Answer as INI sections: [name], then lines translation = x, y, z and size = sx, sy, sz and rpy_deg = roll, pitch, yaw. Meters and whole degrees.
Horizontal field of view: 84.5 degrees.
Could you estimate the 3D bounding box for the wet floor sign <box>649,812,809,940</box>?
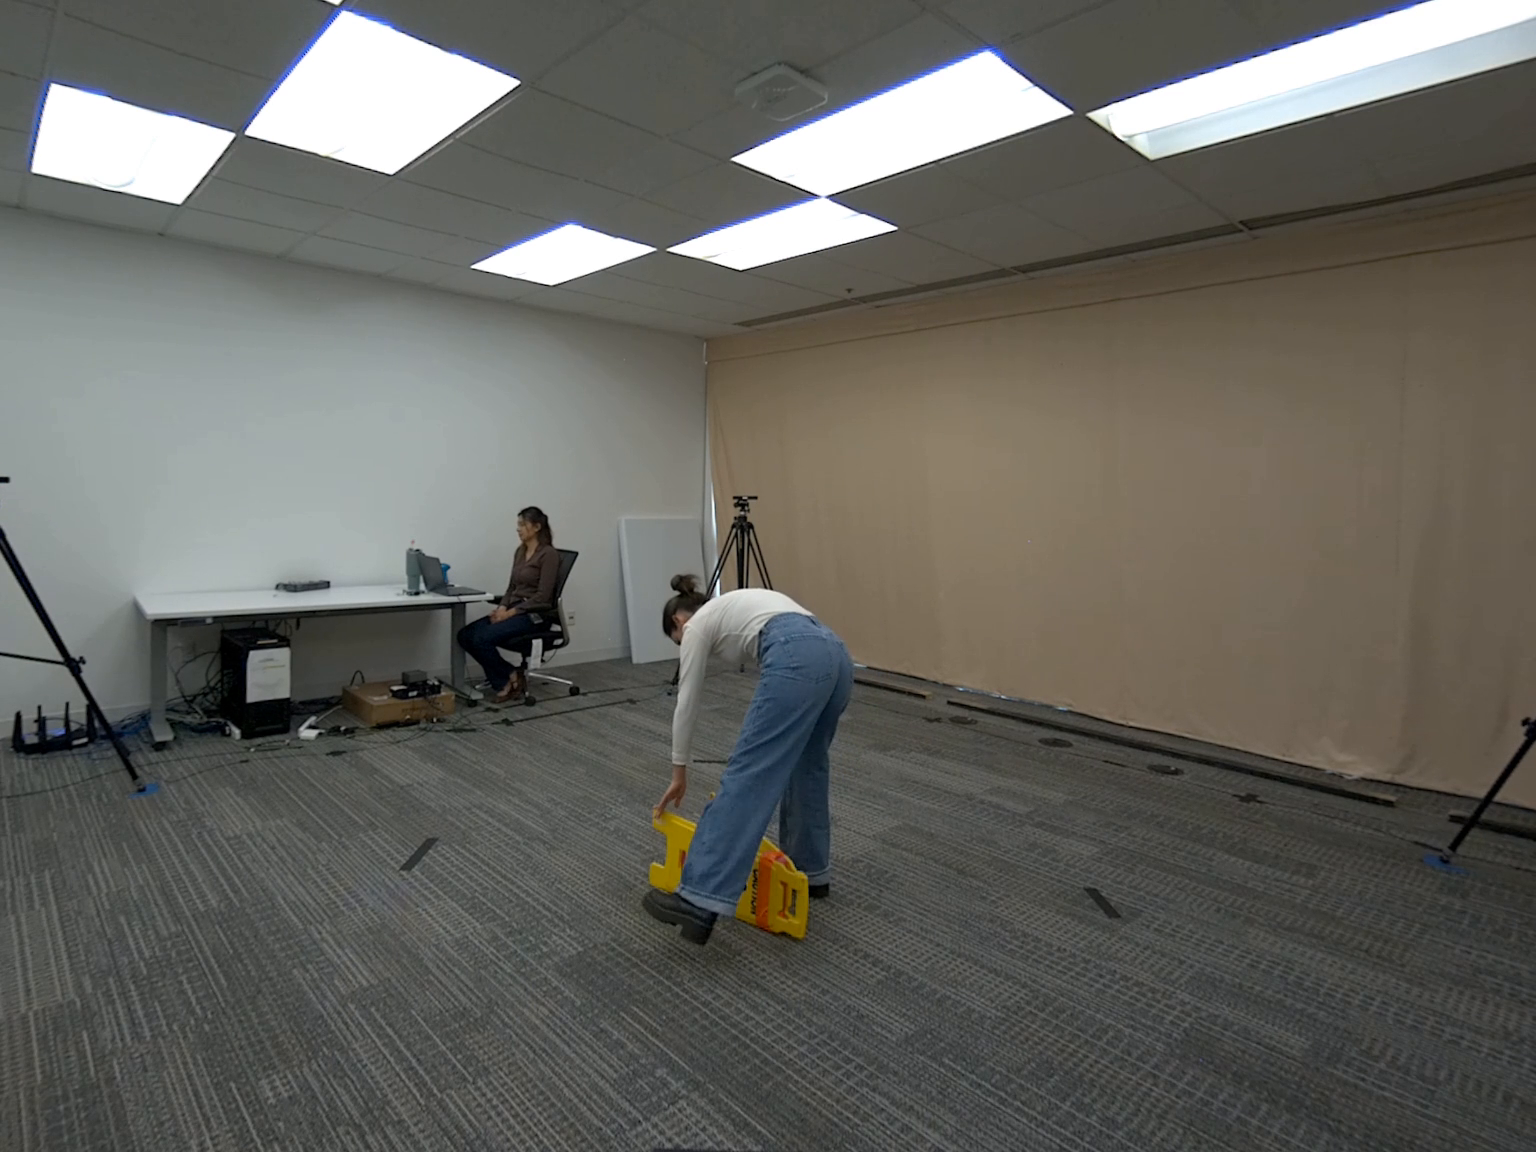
[wet floor sign]
translation = -0.106, 0.999, 2.857
size = 0.283, 0.281, 0.663
rpy_deg = -3, 8, -41
